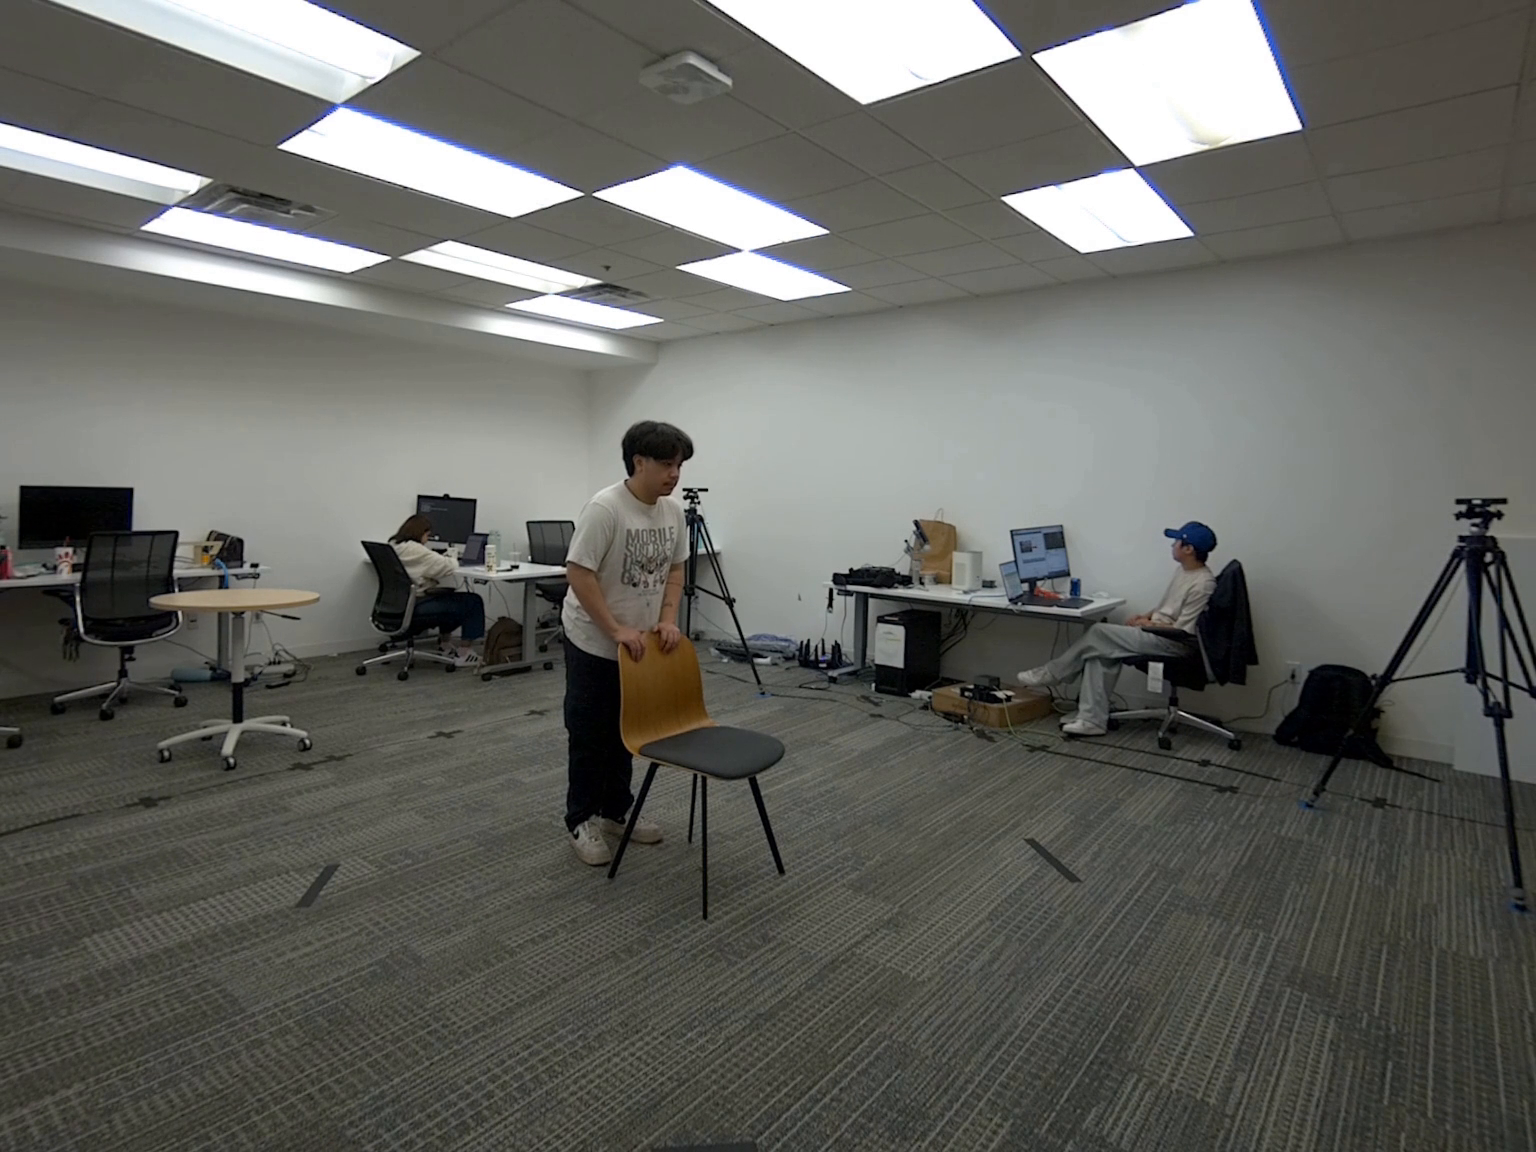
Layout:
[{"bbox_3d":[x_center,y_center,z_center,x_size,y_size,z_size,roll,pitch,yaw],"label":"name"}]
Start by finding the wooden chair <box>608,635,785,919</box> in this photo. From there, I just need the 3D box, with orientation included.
[{"bbox_3d":[-0.245,0.653,3.018,0.539,0.878,0.464,-2,0,37],"label":"wooden chair"}]
